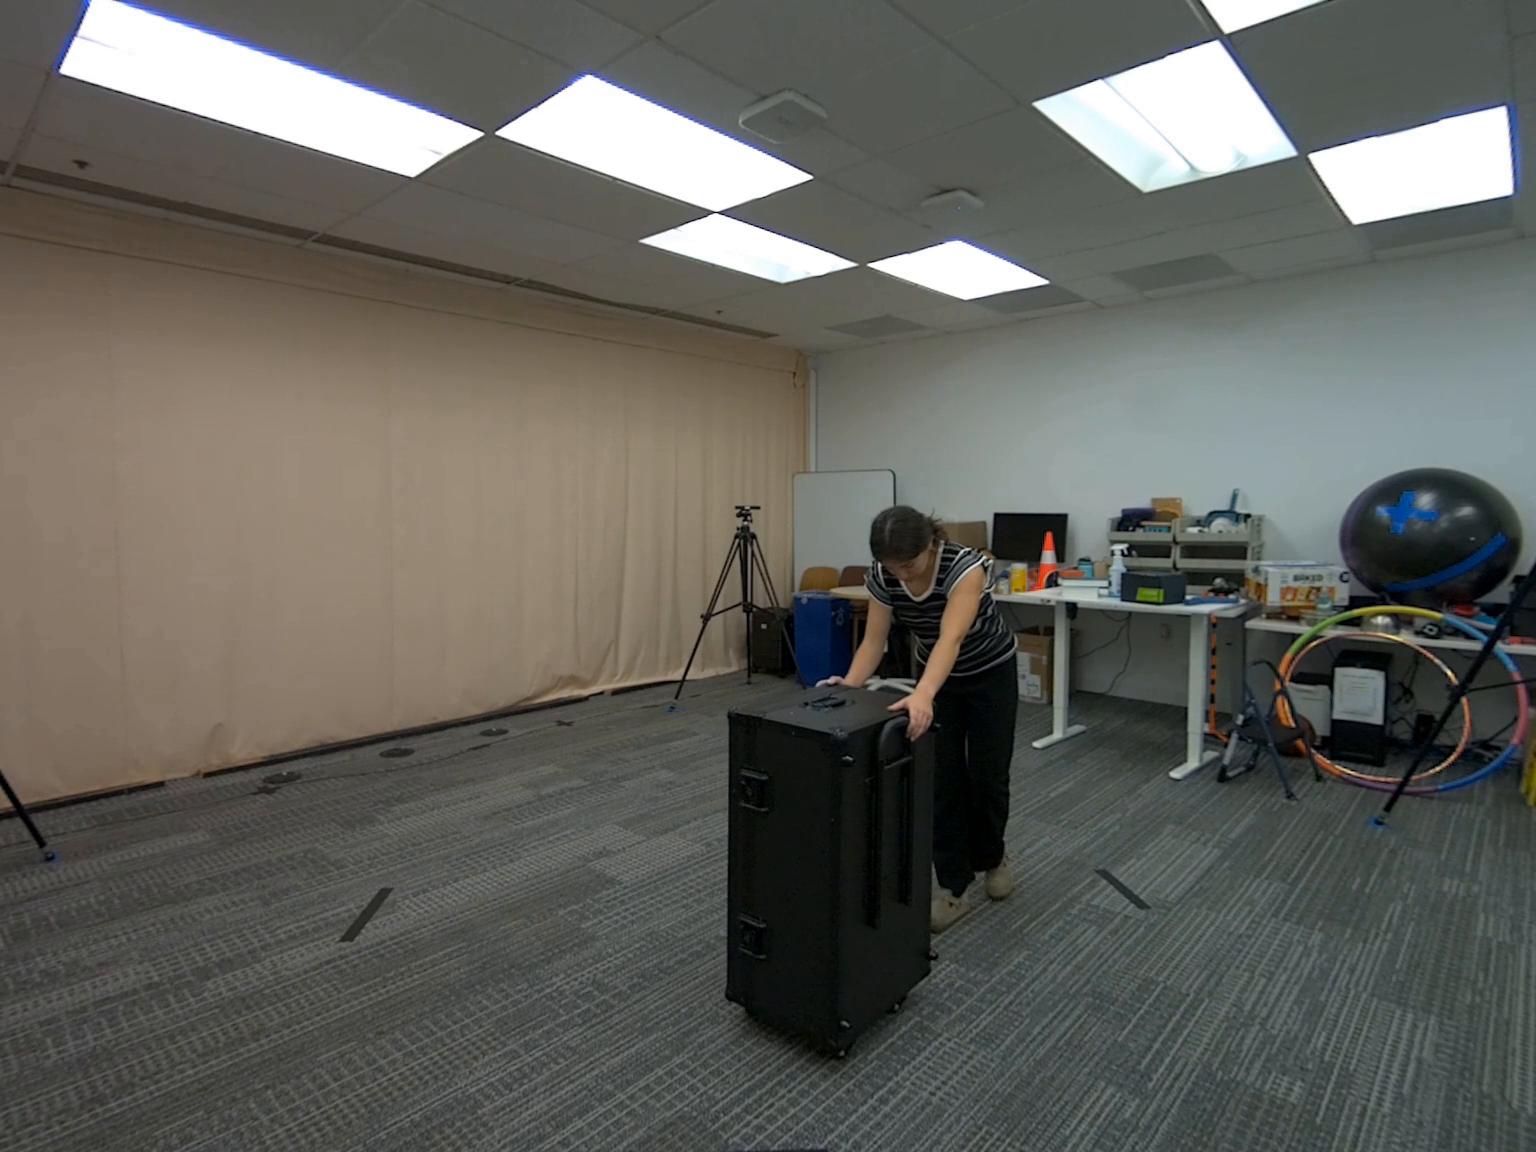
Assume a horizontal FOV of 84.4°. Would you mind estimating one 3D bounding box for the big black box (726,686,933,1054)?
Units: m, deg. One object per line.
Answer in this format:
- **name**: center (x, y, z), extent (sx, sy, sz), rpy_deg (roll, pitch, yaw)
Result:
- **big black box**: center (0.194, 0.781, 2.296), extent (0.409, 0.860, 0.505), rpy_deg (4, 4, 39)
